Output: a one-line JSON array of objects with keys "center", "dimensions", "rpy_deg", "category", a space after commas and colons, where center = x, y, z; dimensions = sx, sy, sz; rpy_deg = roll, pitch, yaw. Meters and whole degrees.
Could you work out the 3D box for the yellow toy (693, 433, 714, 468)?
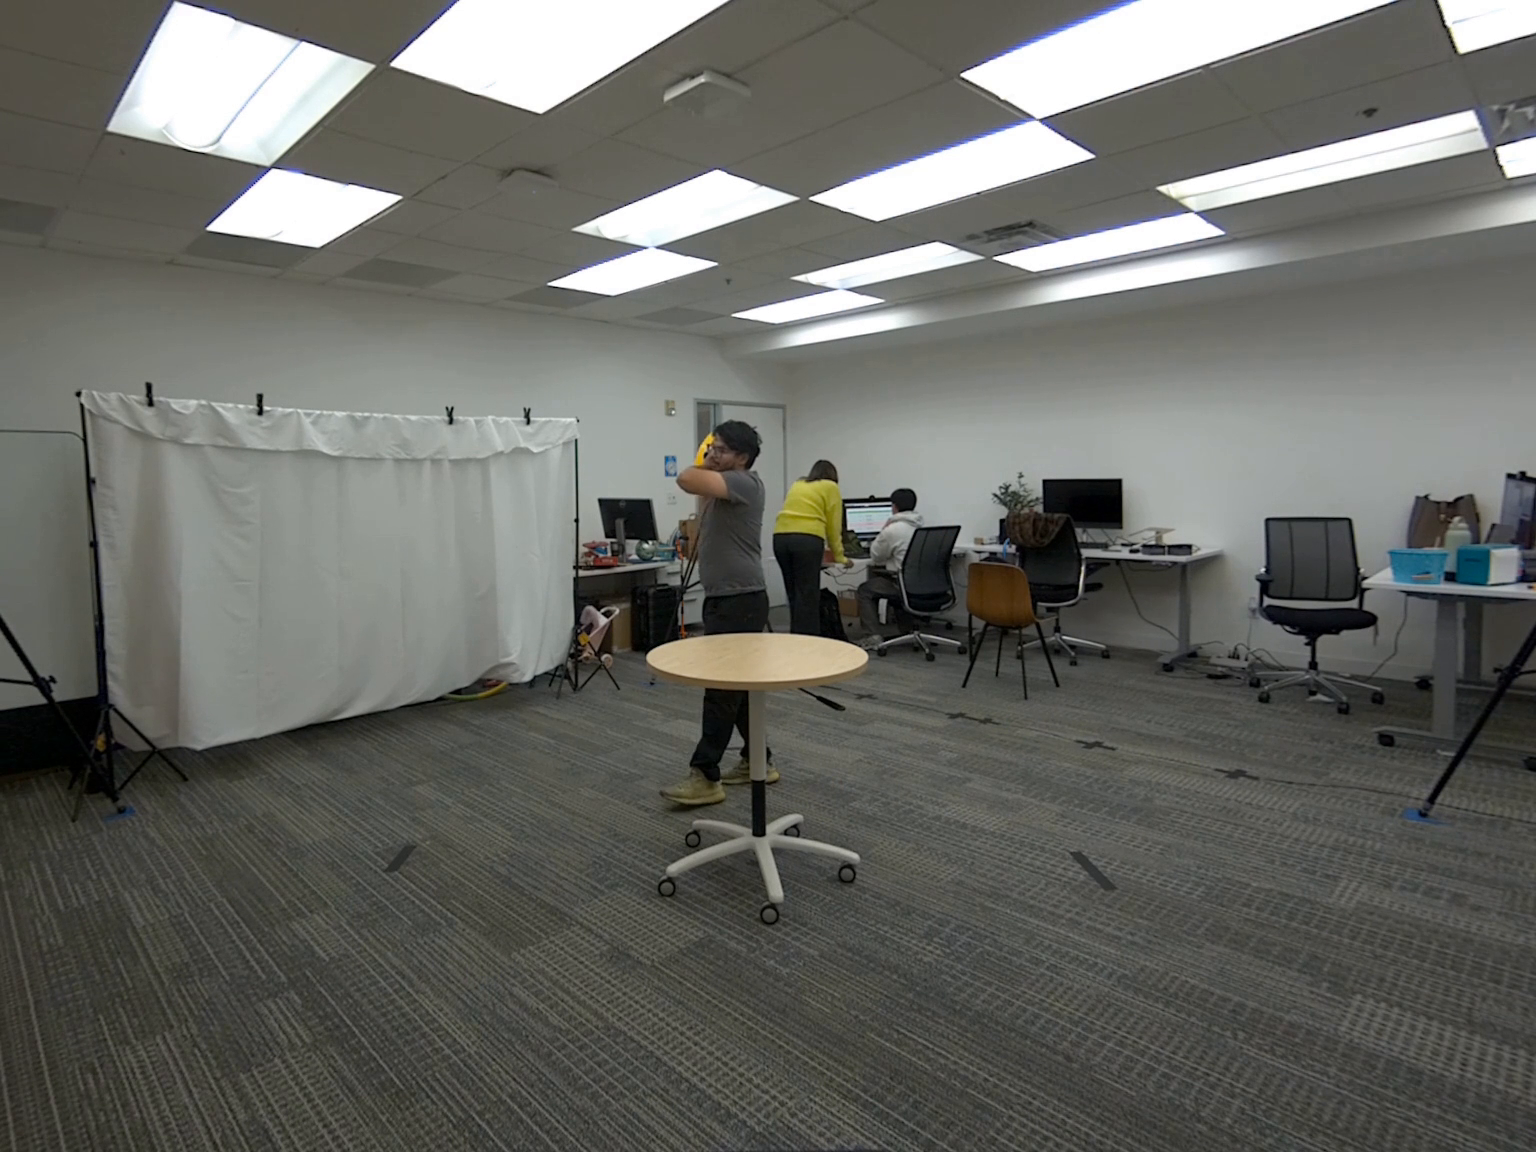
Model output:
[{"center": [-0.266, -0.548, 3.969], "dimensions": [0.192, 0.227, 0.209], "rpy_deg": [-20, 13, -11], "category": "yellow toy"}]
